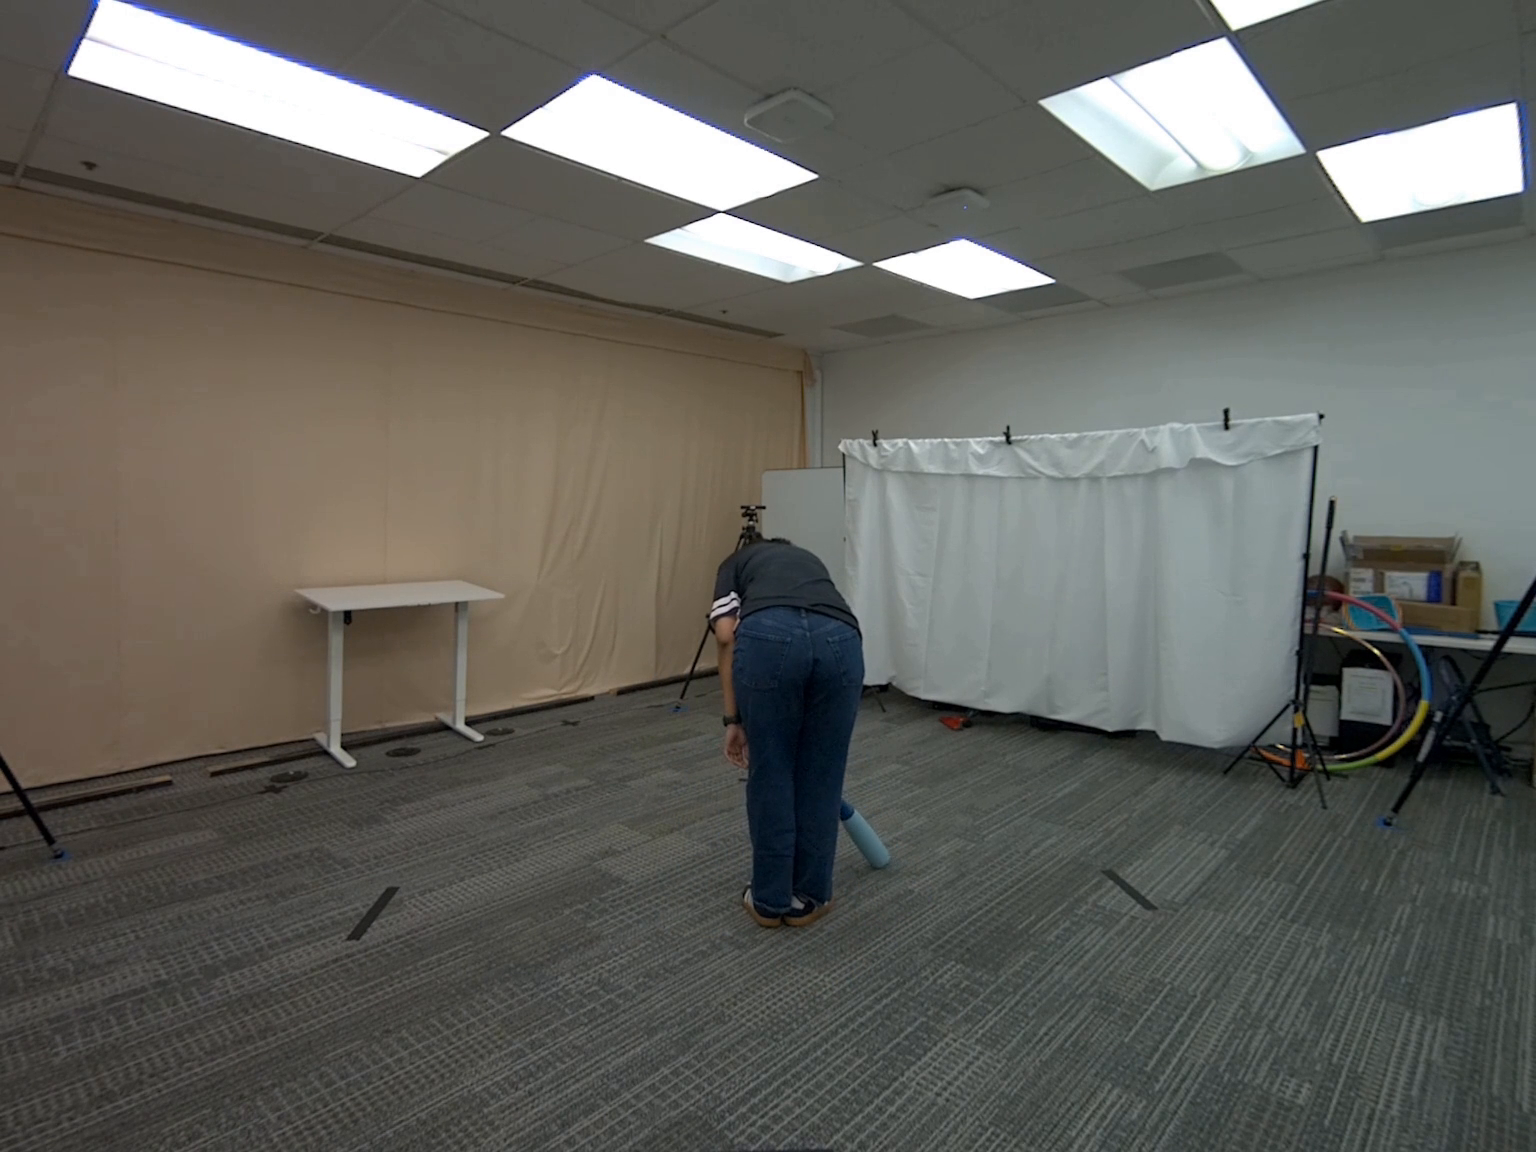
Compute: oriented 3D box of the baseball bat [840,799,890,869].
[{"bbox_3d":[0.289,0.894,3.195,0.089,0.536,0.090,-34,12,7],"label":"baseball bat"}]
